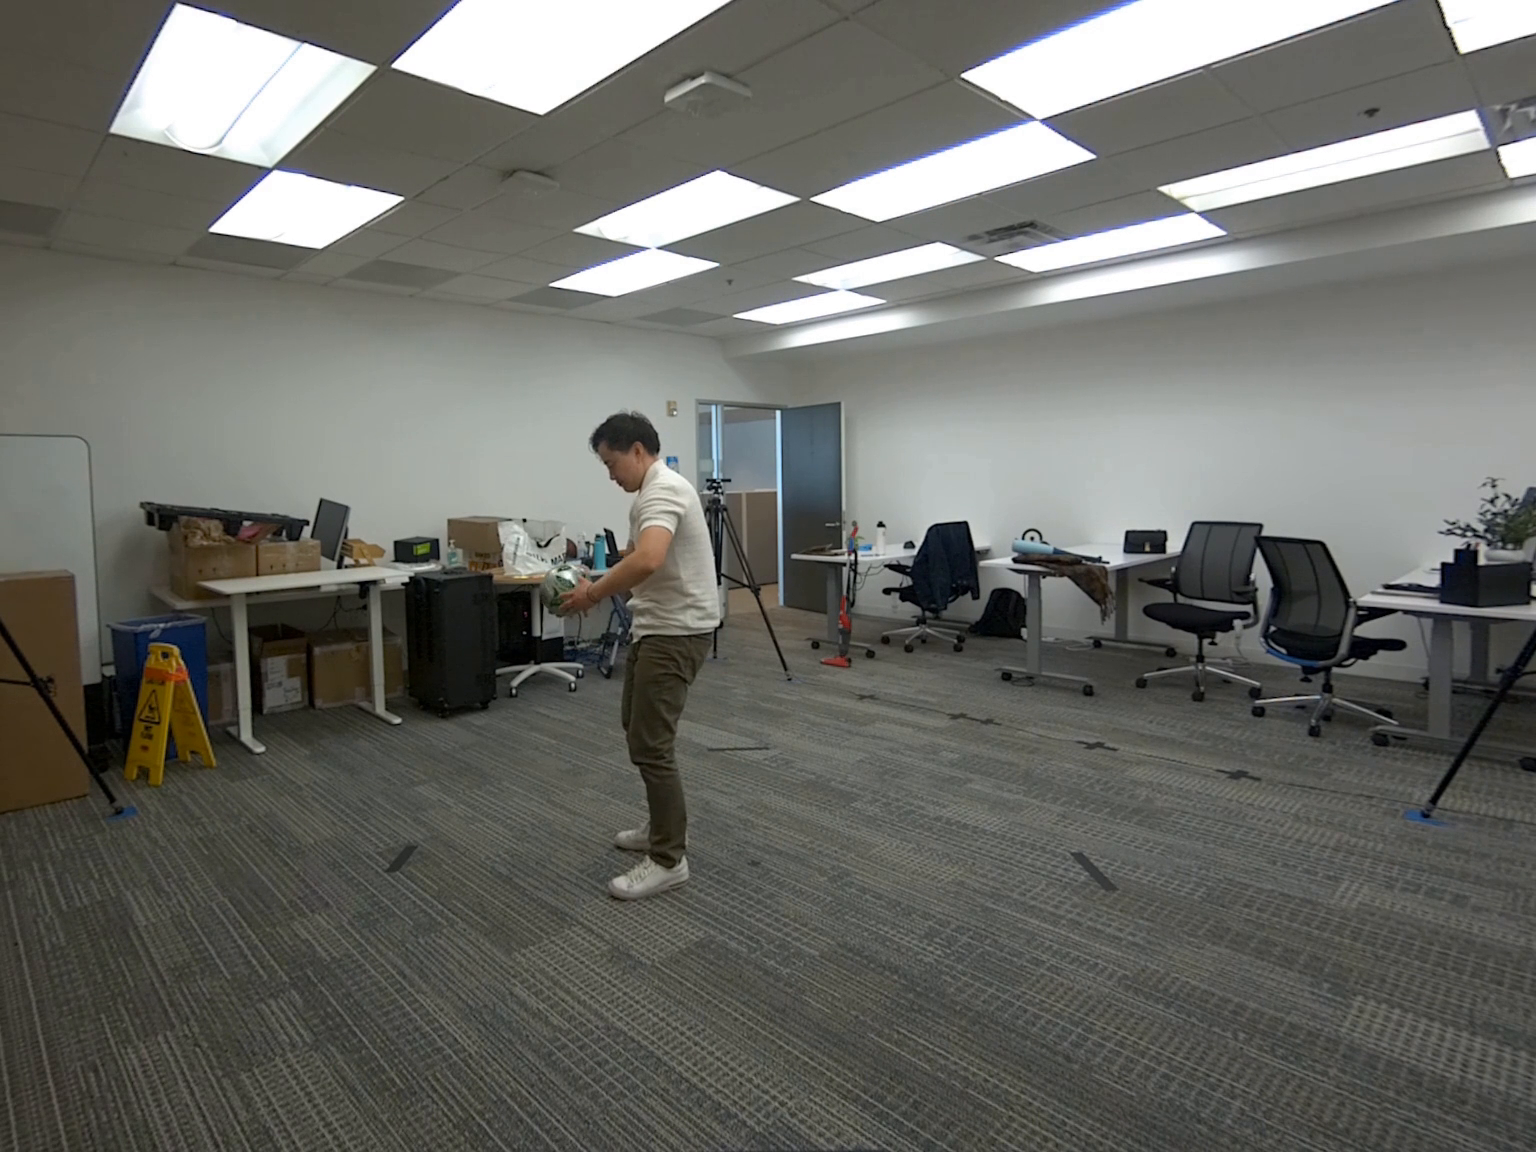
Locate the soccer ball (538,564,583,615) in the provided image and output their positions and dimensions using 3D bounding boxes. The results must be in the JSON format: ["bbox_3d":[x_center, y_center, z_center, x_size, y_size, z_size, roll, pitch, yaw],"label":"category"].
[{"bbox_3d":[-0.710,0.057,3.072,0.187,0.187,0.188,-1,5,-2],"label":"soccer ball"}]
